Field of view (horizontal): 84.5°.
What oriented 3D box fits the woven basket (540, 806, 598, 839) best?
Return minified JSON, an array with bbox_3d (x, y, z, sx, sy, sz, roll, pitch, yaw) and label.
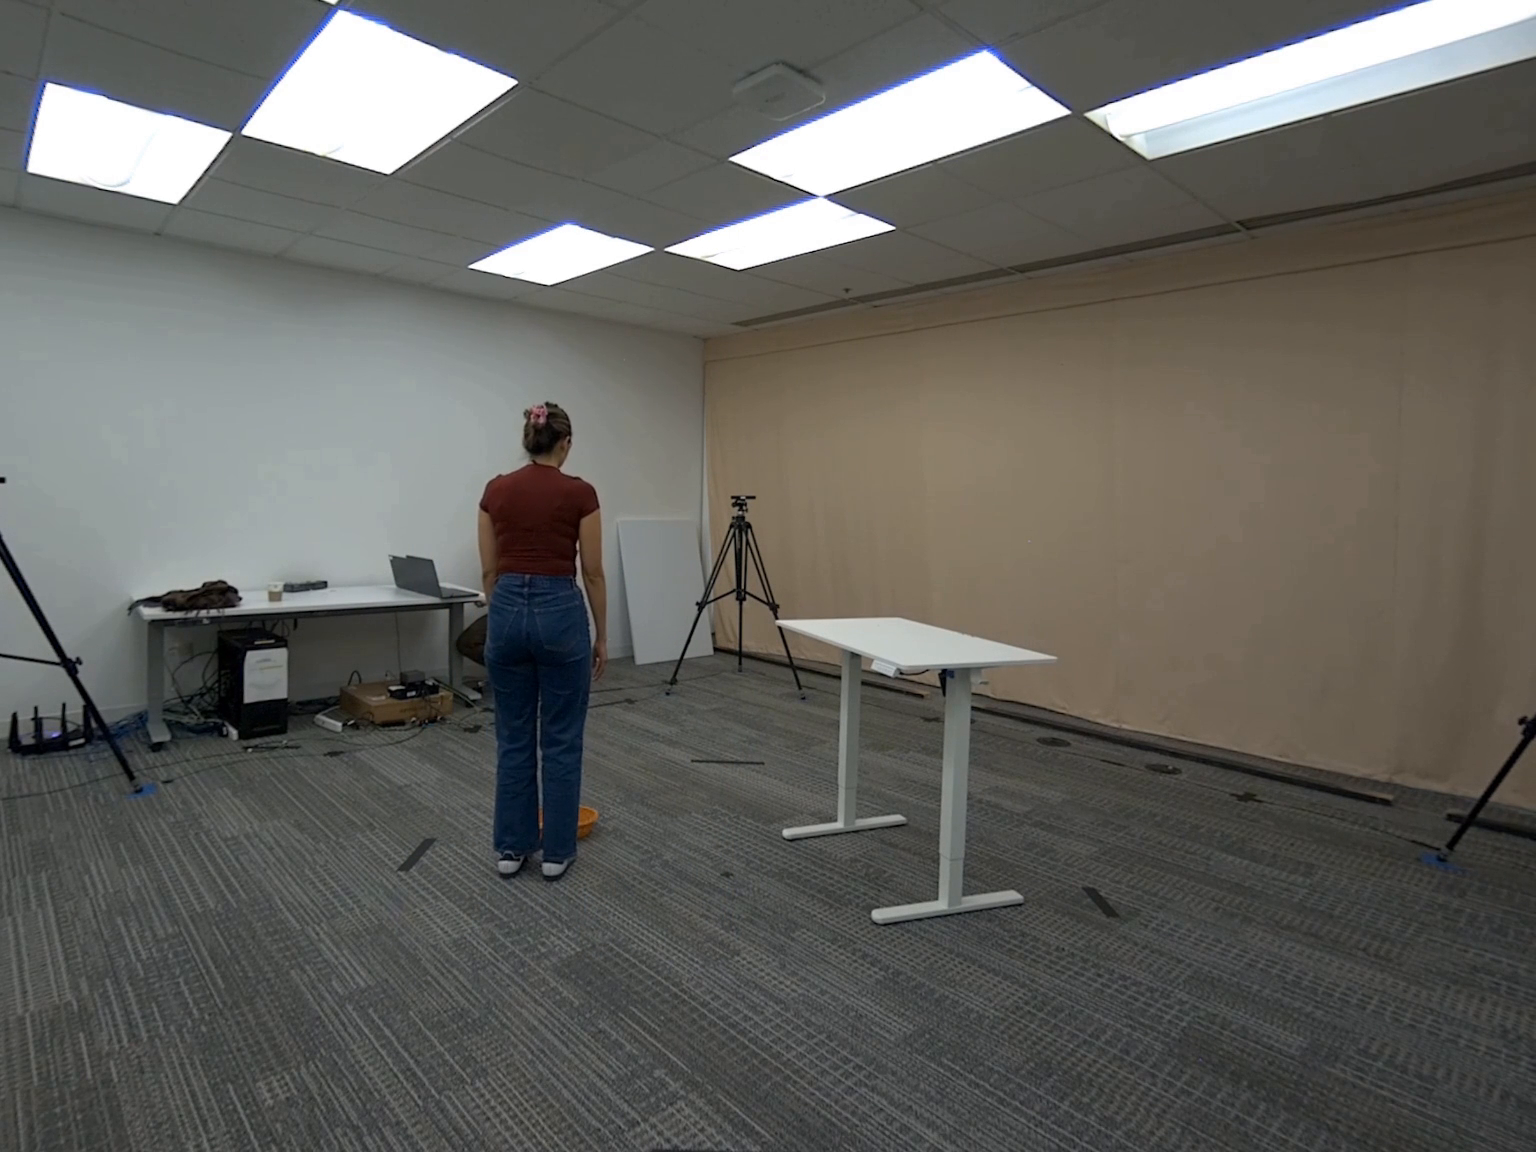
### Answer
[{"bbox_3d":[-0.877,1.021,3.447,0.347,0.073,0.256,1,5,-13],"label":"woven basket"}]
